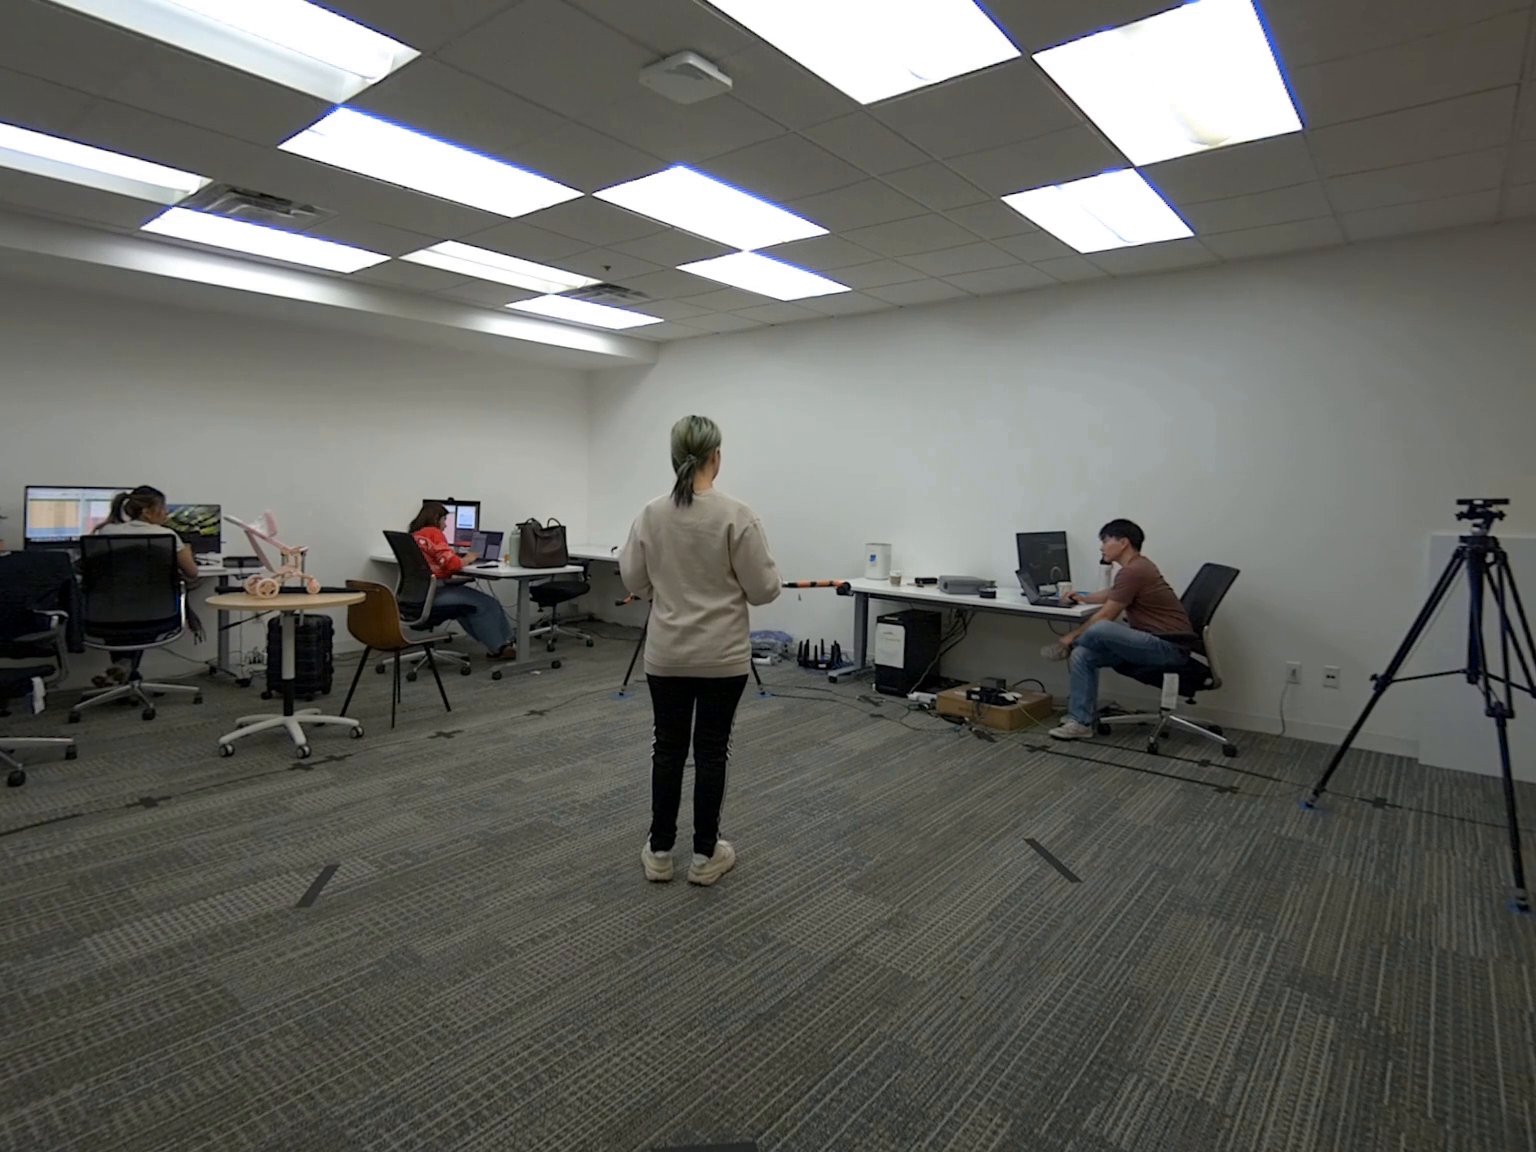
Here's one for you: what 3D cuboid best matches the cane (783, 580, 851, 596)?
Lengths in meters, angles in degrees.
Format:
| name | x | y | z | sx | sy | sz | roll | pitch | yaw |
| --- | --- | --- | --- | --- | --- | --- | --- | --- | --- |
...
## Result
| name | x | y | z | sx | sy | sz | roll | pitch | yaw |
| --- | --- | --- | --- | --- | --- | --- | --- | --- | --- |
| cane | -0.136 | 0.039 | 3.297 | 0.926 | 0.151 | 0.203 | 1 | 6 | 19 |
